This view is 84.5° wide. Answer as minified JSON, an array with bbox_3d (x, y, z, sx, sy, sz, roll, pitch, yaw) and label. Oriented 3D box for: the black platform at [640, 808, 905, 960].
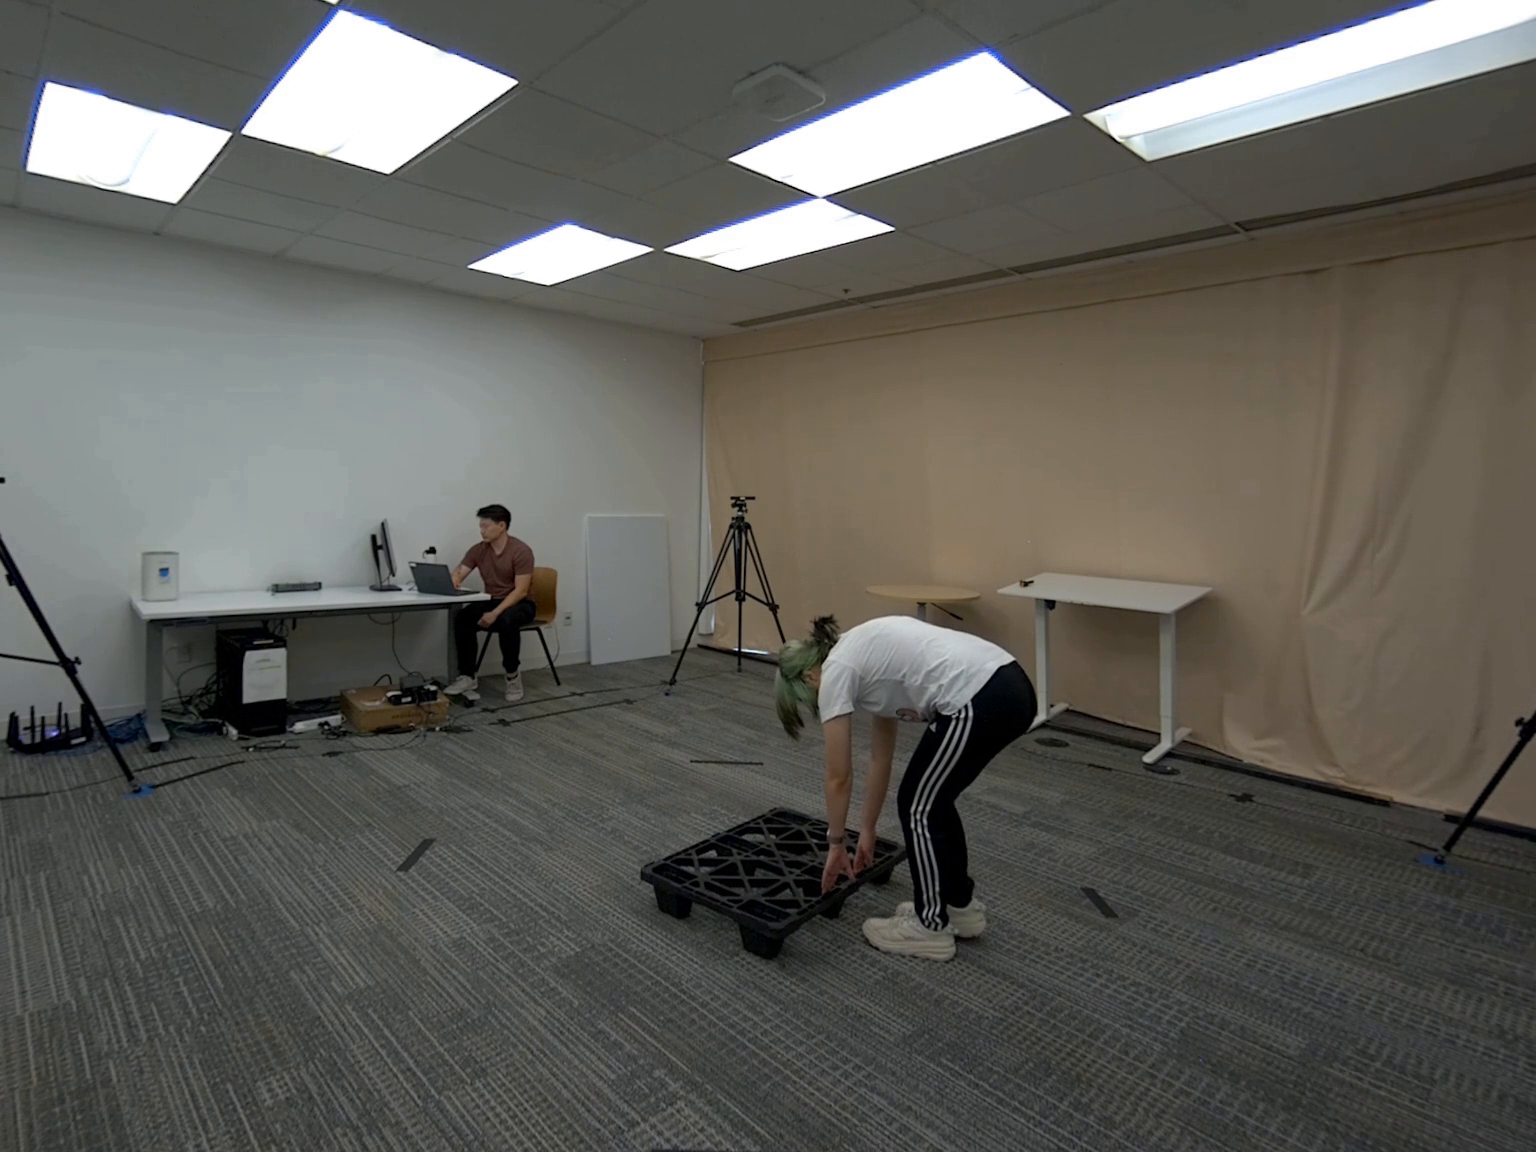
[{"bbox_3d":[0.036,1.054,2.960,0.620,0.143,0.788,6,7,38],"label":"black platform"}]
